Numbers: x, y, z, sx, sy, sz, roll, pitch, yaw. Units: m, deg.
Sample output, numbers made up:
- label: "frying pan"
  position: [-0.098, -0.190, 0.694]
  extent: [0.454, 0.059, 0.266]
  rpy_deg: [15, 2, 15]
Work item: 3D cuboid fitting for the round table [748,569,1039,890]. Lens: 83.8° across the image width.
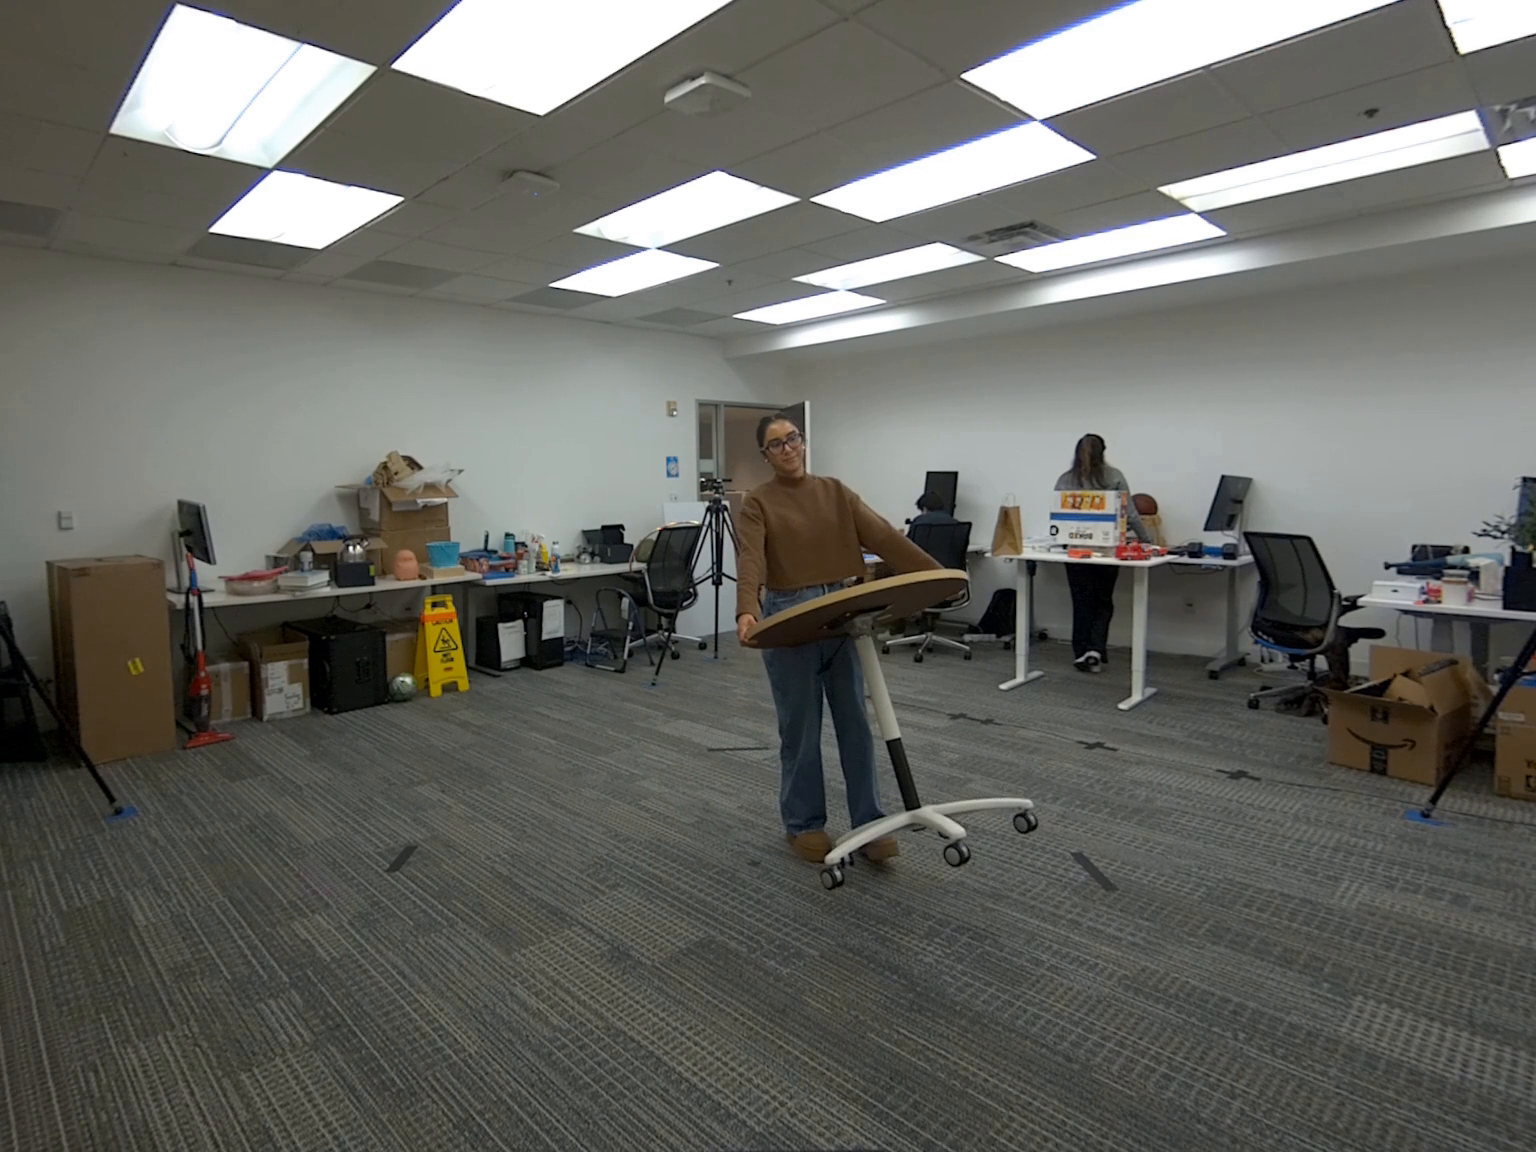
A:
- label: "round table"
  position: [0.406, 0.489, 2.735]
  extent: [0.782, 0.800, 0.775]
  rpy_deg: [-14, -14, -5]
